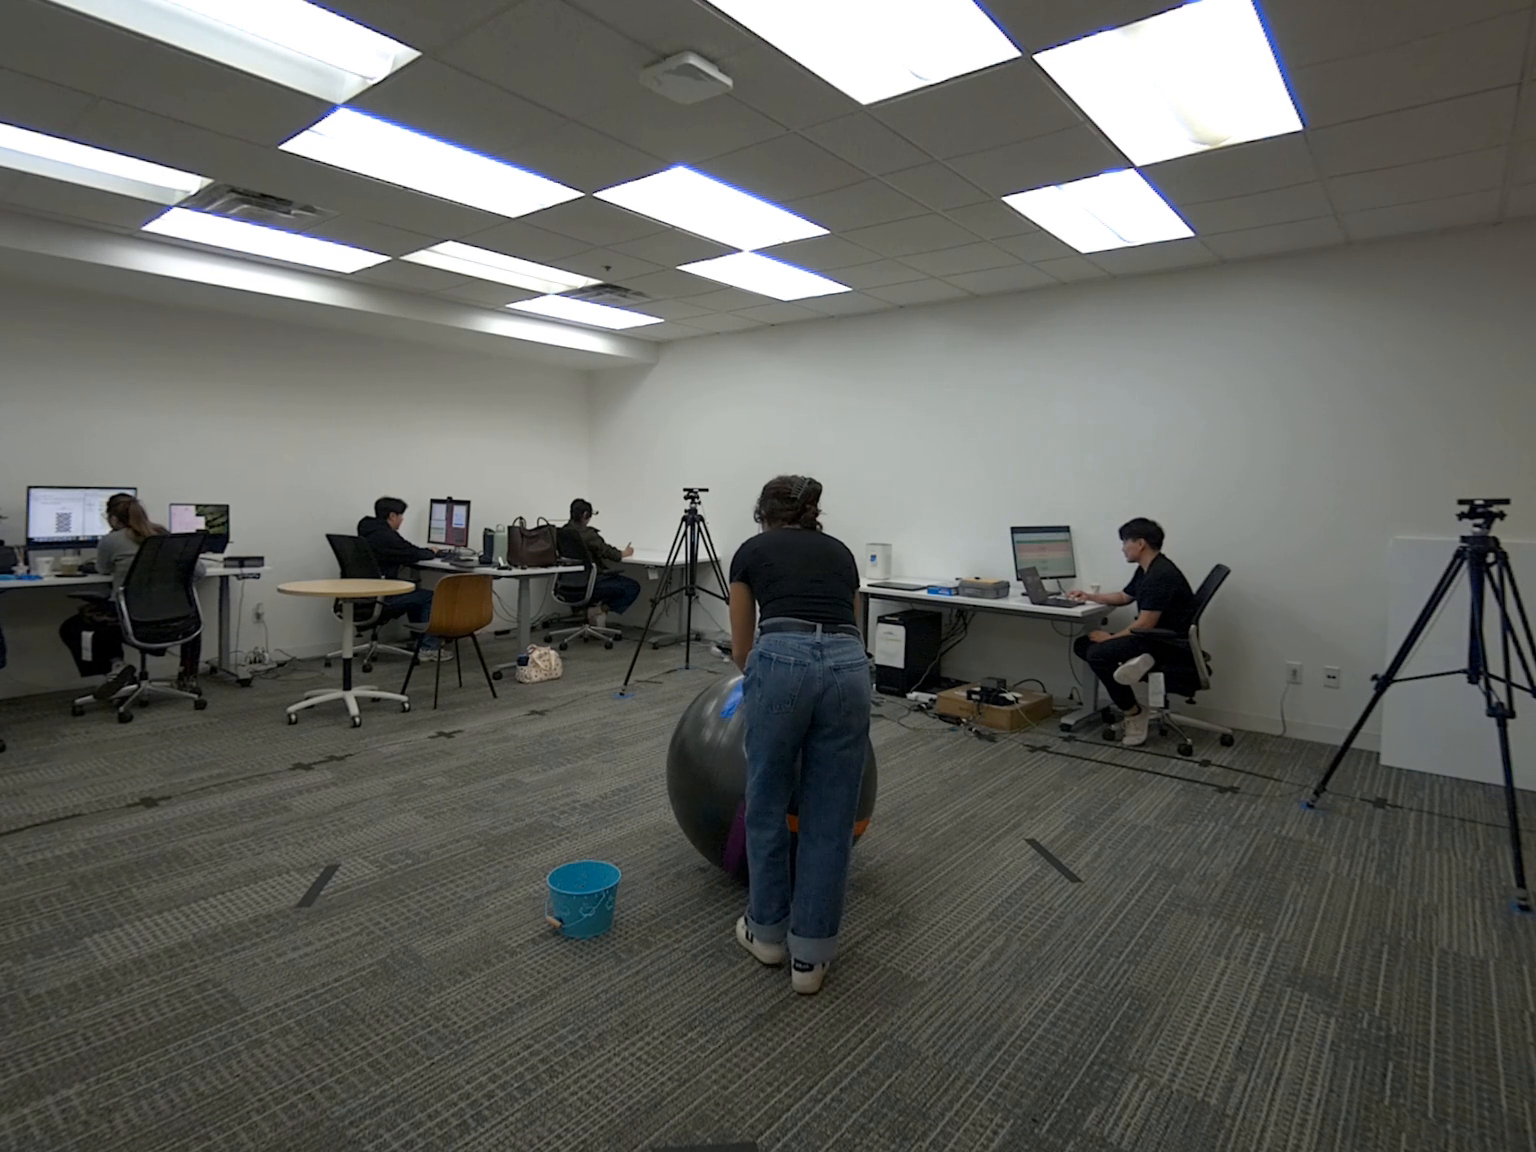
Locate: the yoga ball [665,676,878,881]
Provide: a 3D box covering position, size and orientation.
[{"bbox_3d":[0.001,0.710,3.091,0.757,0.756,0.762,1,4,-2],"label":"yoga ball"}]
